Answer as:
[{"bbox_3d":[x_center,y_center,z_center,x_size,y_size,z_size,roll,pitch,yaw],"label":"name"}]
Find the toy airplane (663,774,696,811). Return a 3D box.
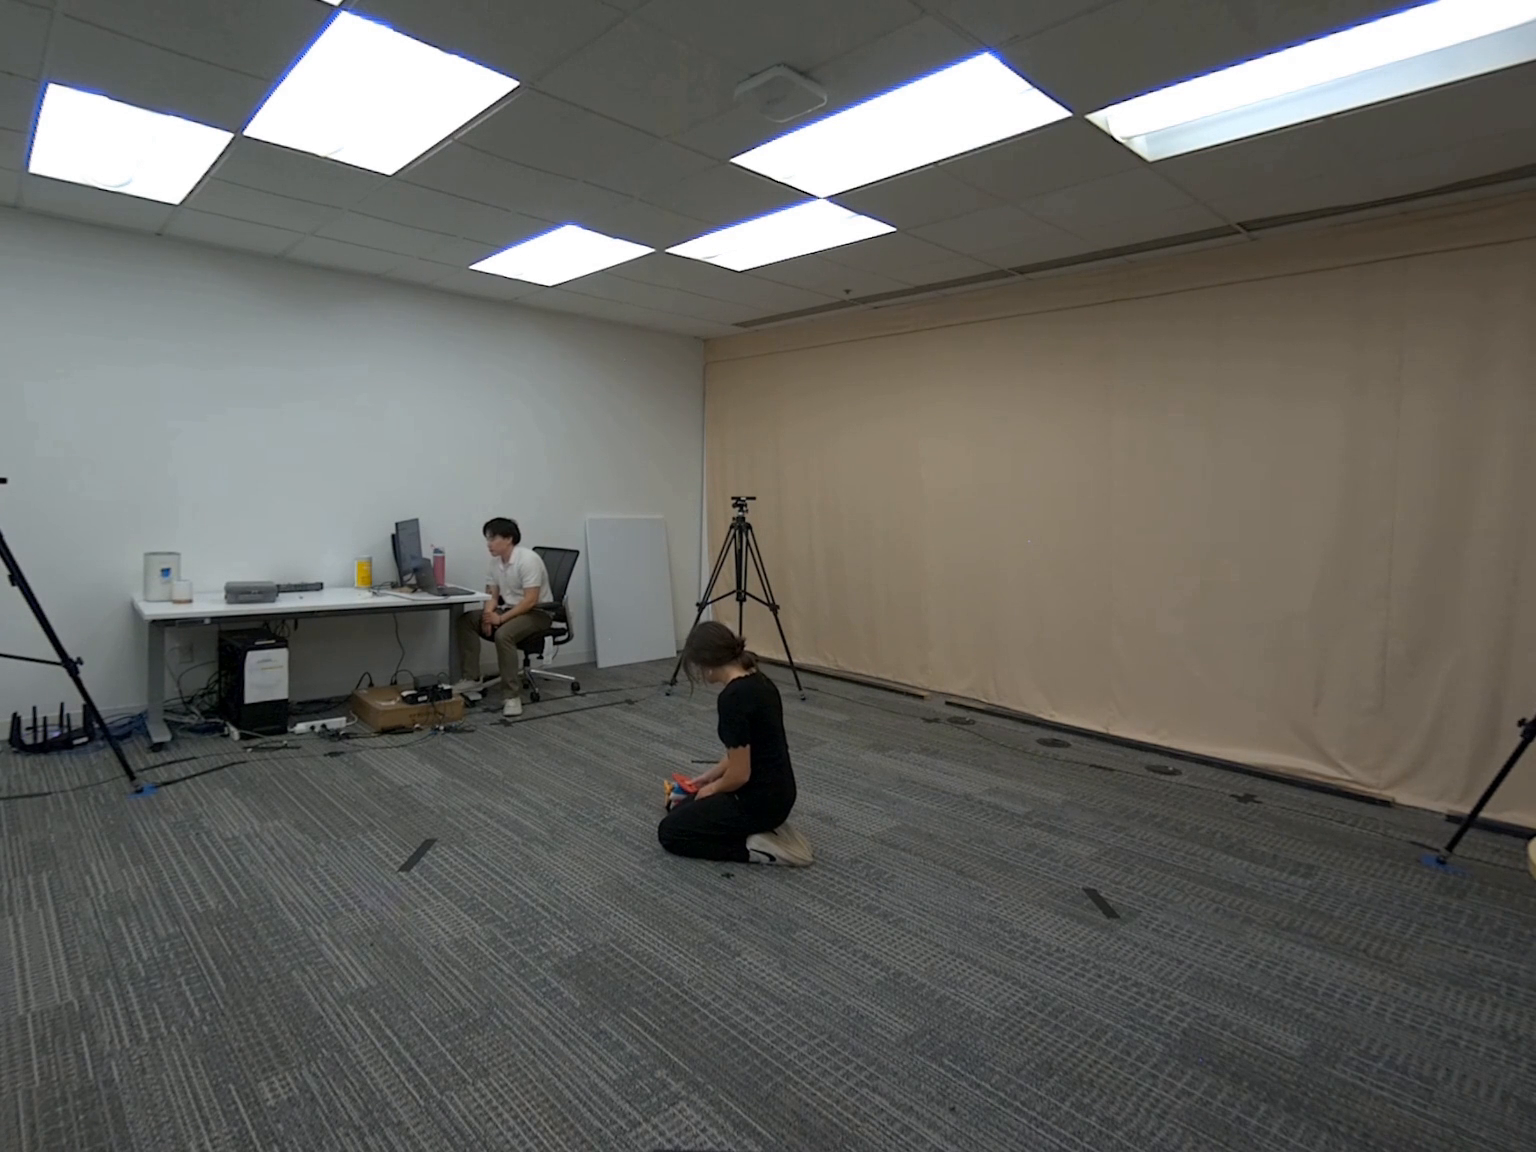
[{"bbox_3d":[-0.355,0.973,3.737,0.257,0.156,0.254,4,5,37],"label":"toy airplane"}]
